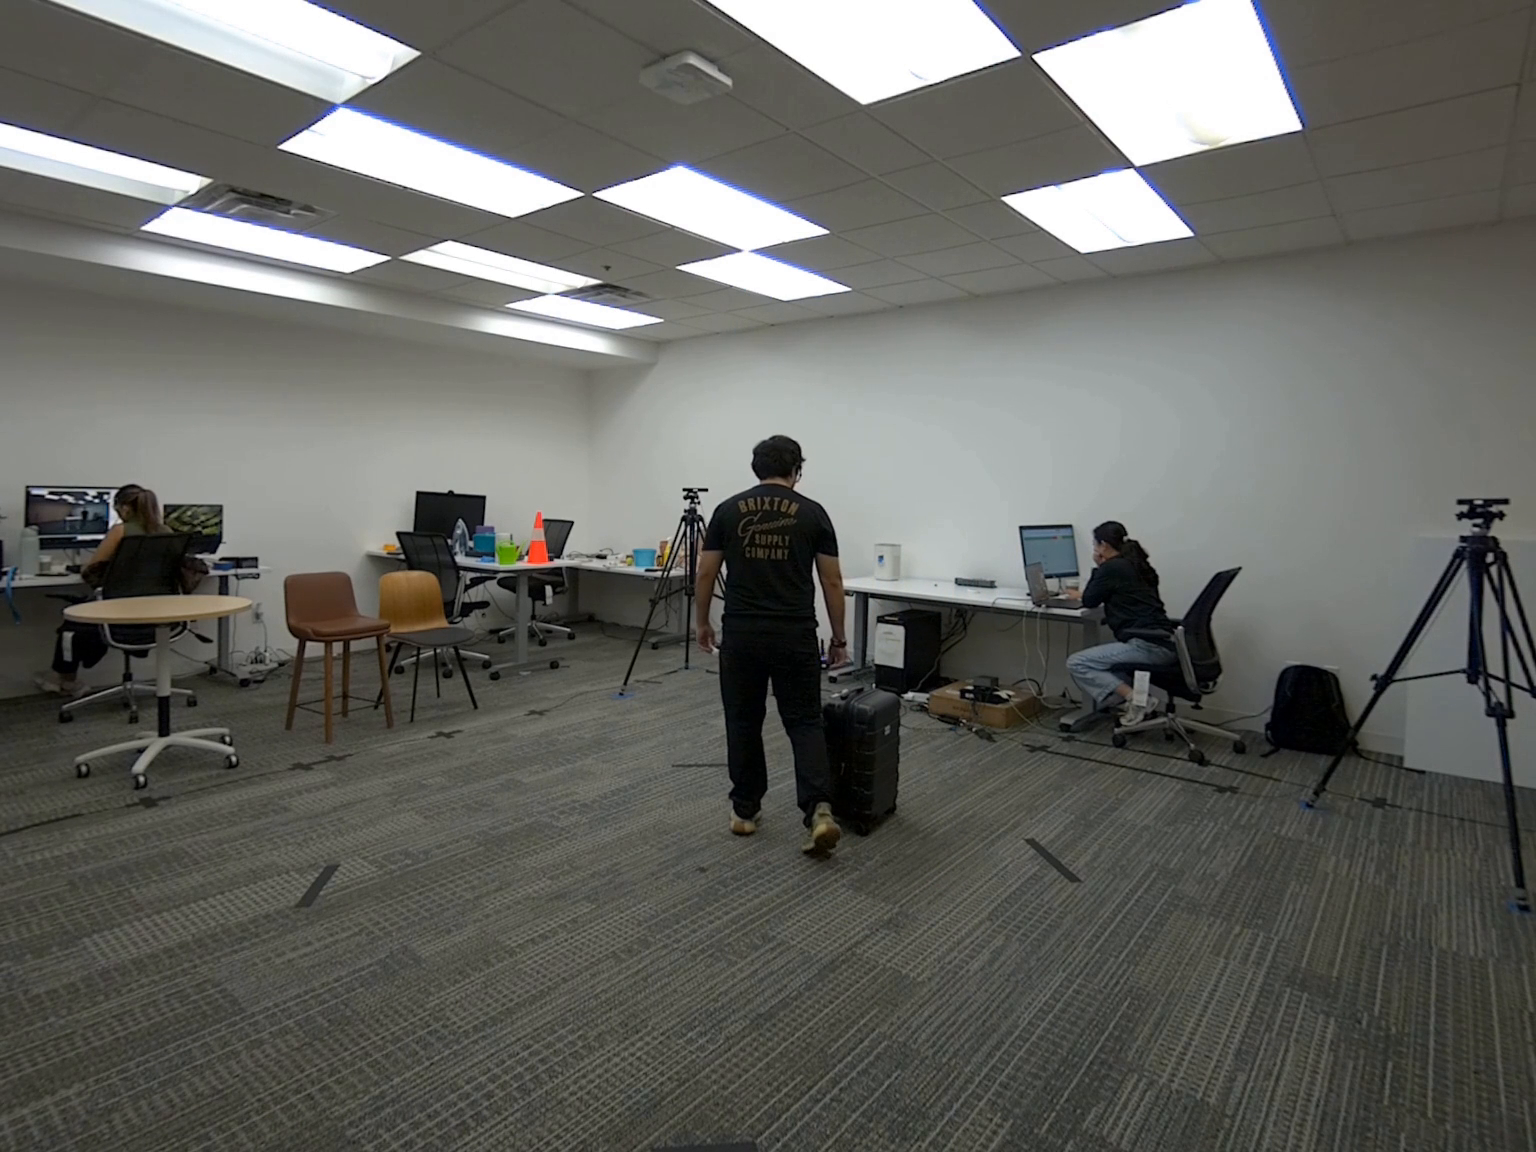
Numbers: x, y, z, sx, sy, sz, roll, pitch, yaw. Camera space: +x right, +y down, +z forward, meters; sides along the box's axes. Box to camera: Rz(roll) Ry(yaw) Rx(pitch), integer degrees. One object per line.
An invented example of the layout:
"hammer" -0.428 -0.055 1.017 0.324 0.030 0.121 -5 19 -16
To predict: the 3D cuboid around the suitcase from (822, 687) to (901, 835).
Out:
"suitcase" 0.381 0.760 3.615 0.256 0.546 0.366 5 7 28
